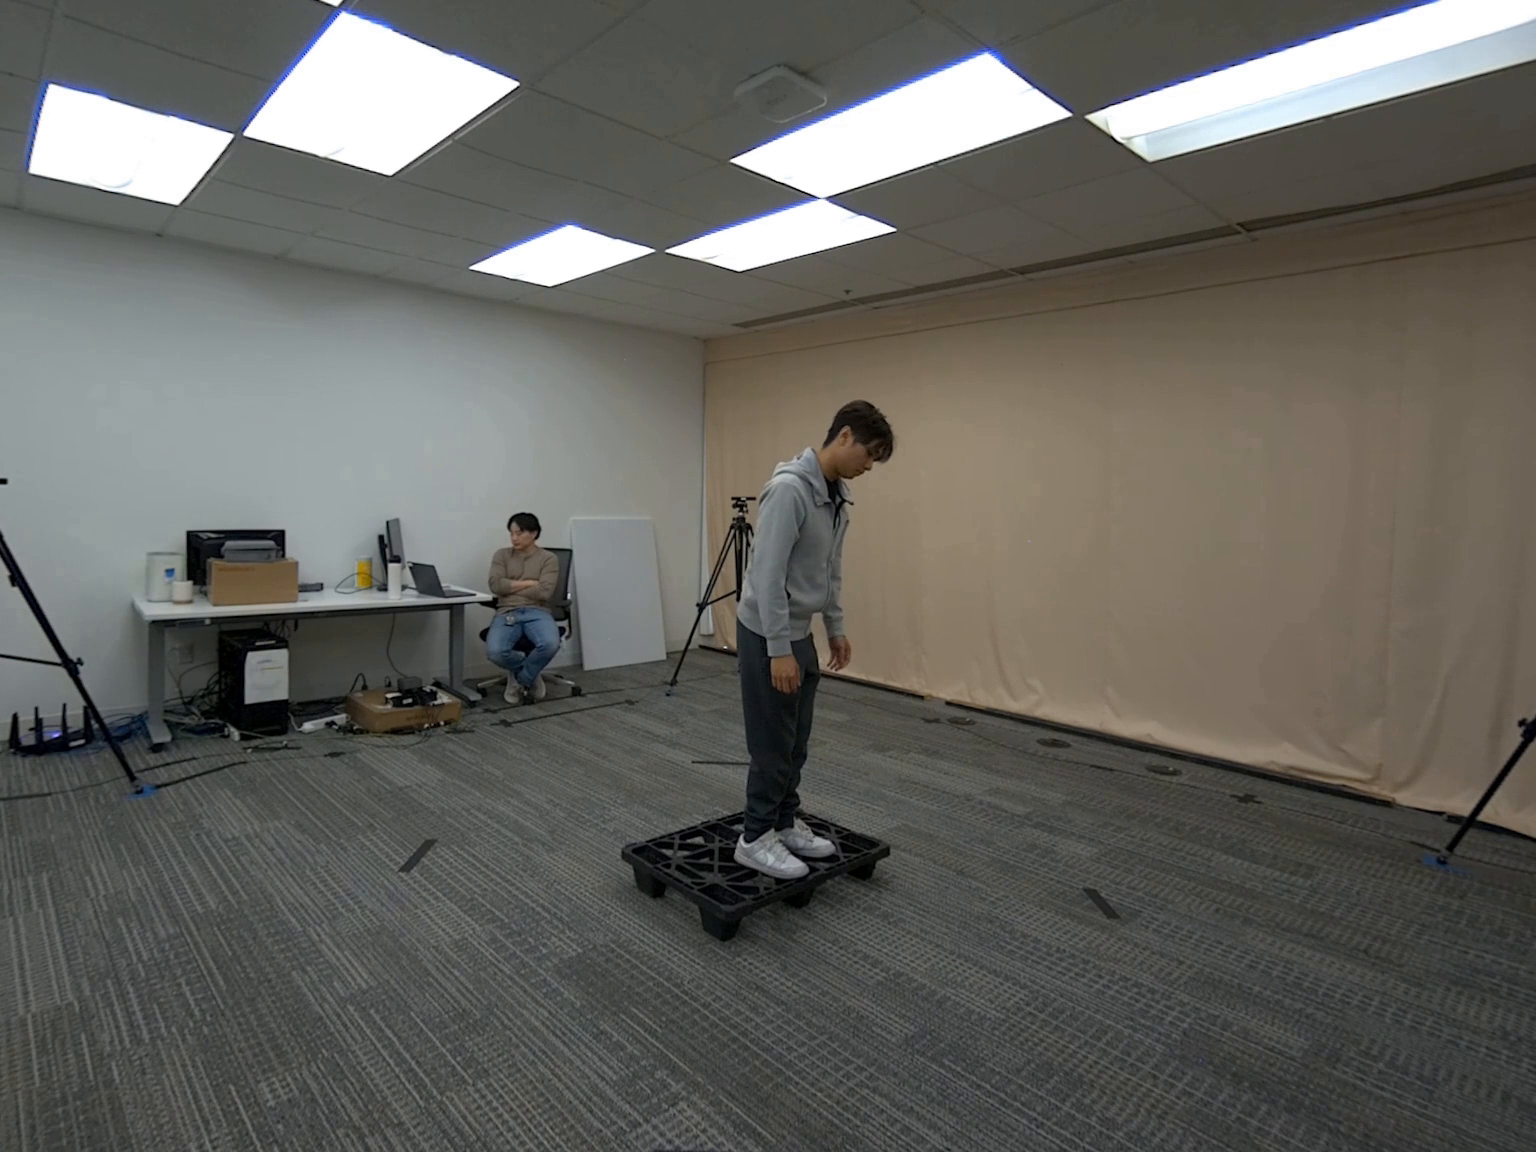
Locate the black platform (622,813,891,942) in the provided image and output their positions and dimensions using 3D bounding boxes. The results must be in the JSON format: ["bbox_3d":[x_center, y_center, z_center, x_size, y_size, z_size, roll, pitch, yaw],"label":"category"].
[{"bbox_3d":[-0.049,1.048,3.049,0.787,0.143,0.620,-3,6,-42],"label":"black platform"}]
